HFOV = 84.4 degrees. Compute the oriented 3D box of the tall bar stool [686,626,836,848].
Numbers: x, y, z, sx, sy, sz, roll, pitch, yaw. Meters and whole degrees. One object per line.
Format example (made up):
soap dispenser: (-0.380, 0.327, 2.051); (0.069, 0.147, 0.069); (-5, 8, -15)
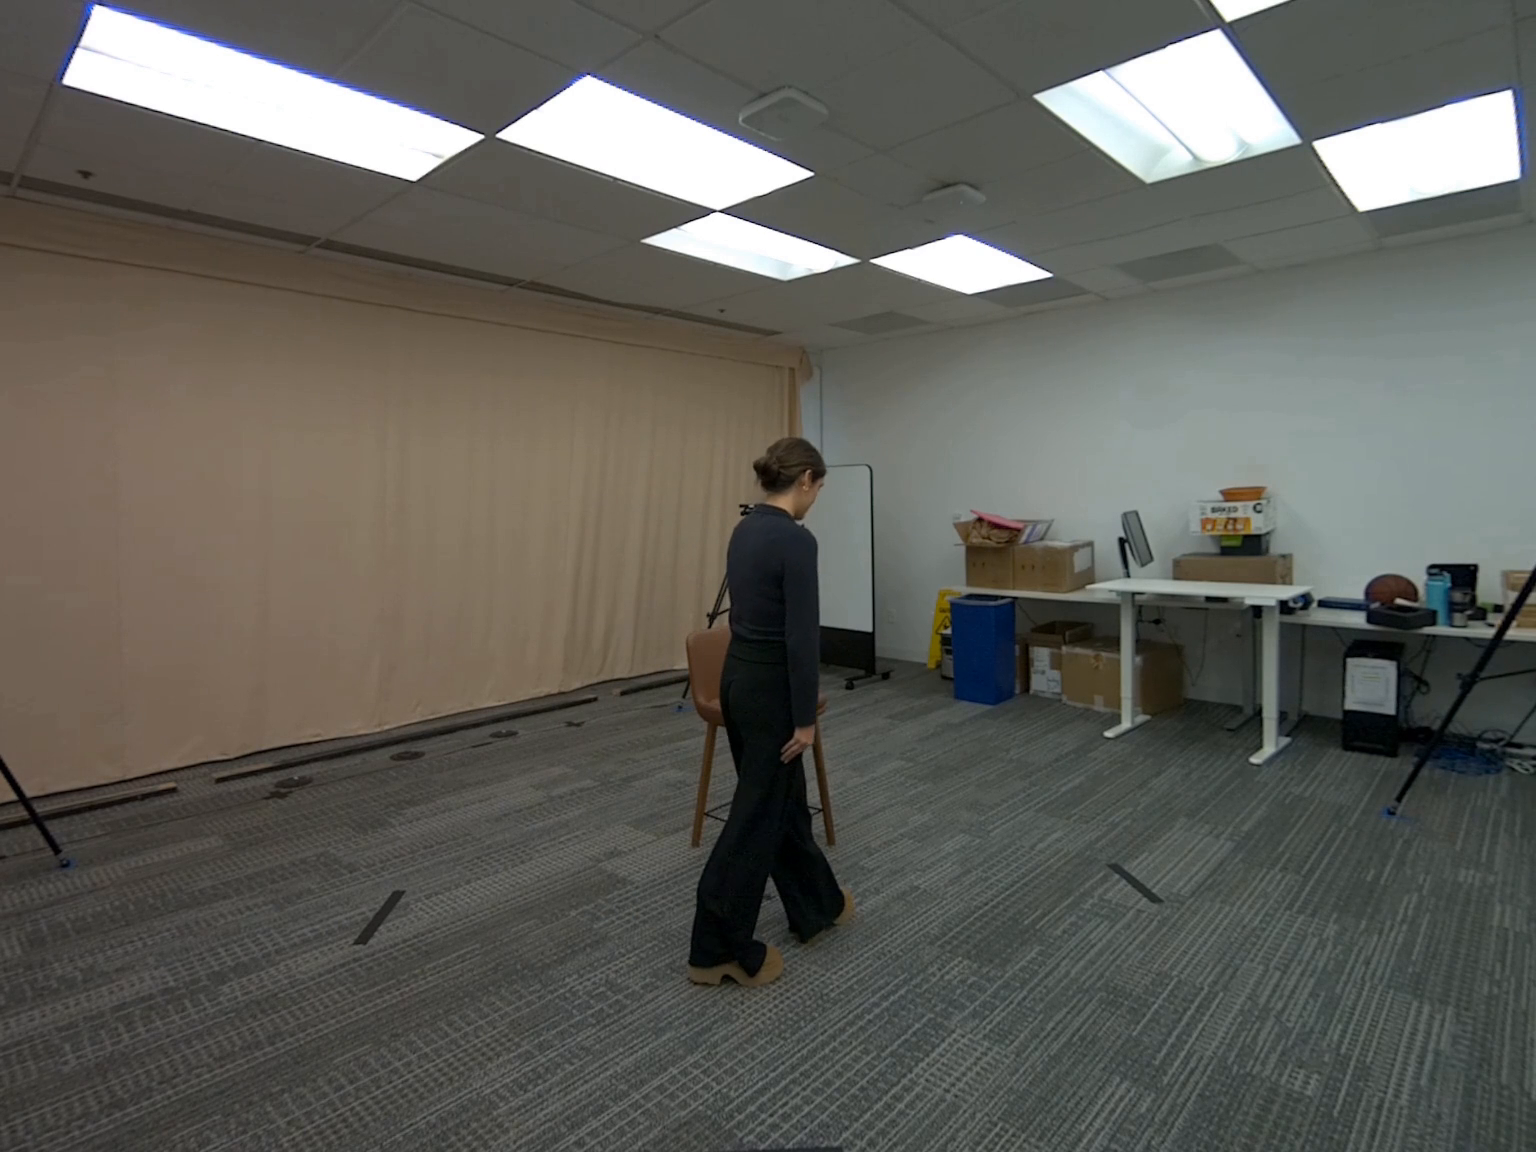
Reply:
tall bar stool: (-0.035, 0.666, 3.416); (0.482, 0.889, 0.443); (-1, 2, 41)
